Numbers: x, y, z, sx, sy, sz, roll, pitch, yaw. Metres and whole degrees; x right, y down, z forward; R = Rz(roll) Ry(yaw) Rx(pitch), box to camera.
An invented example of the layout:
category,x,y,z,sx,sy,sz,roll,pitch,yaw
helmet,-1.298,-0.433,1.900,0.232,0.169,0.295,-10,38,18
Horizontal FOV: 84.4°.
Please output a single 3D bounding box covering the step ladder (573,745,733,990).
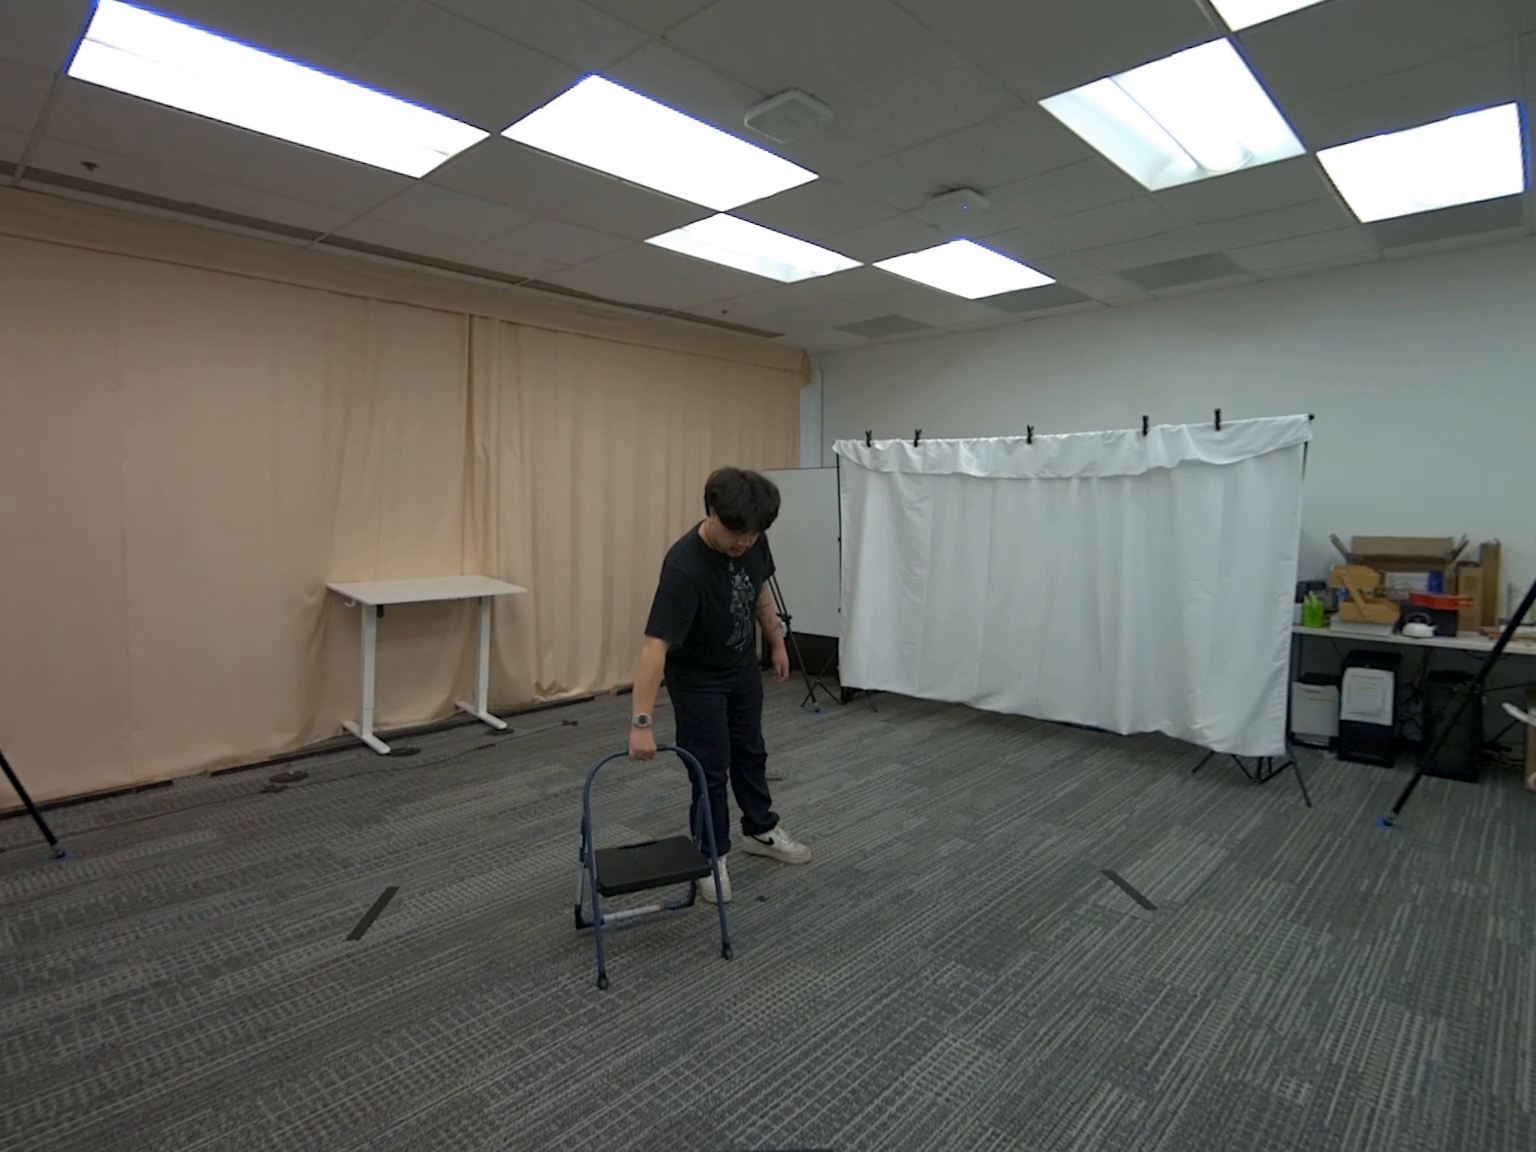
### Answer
category,x,y,z,sx,sy,sz,roll,pitch,yaw
step ladder,-0.372,0.861,2.633,0.421,0.604,0.359,-3,6,-25
